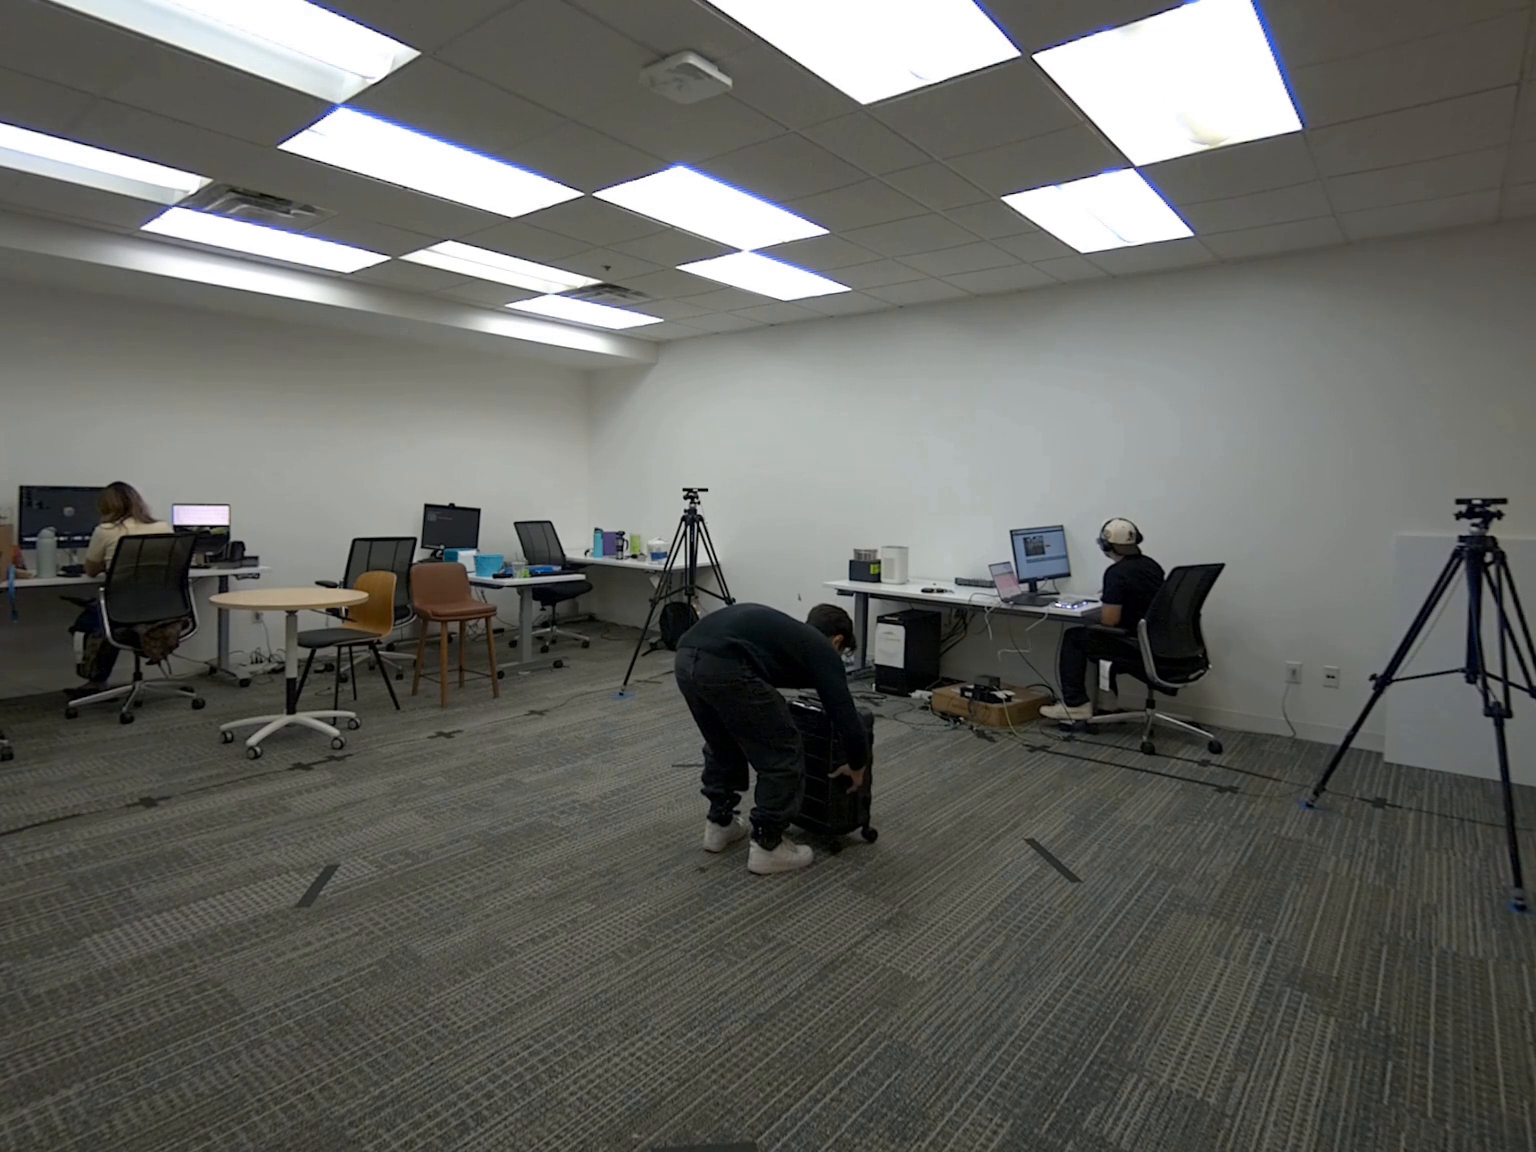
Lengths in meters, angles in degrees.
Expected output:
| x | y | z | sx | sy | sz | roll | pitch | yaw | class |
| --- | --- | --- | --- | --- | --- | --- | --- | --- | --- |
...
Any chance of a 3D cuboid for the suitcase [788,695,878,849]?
| x | y | z | sx | sy | sz | roll | pitch | yaw | class |
| --- | --- | --- | --- | --- | --- | --- | --- | --- | --- |
| 0.221 | 0.762 | 3.436 | 0.240 | 0.549 | 0.388 | 1 | 1 | -40 | suitcase |
